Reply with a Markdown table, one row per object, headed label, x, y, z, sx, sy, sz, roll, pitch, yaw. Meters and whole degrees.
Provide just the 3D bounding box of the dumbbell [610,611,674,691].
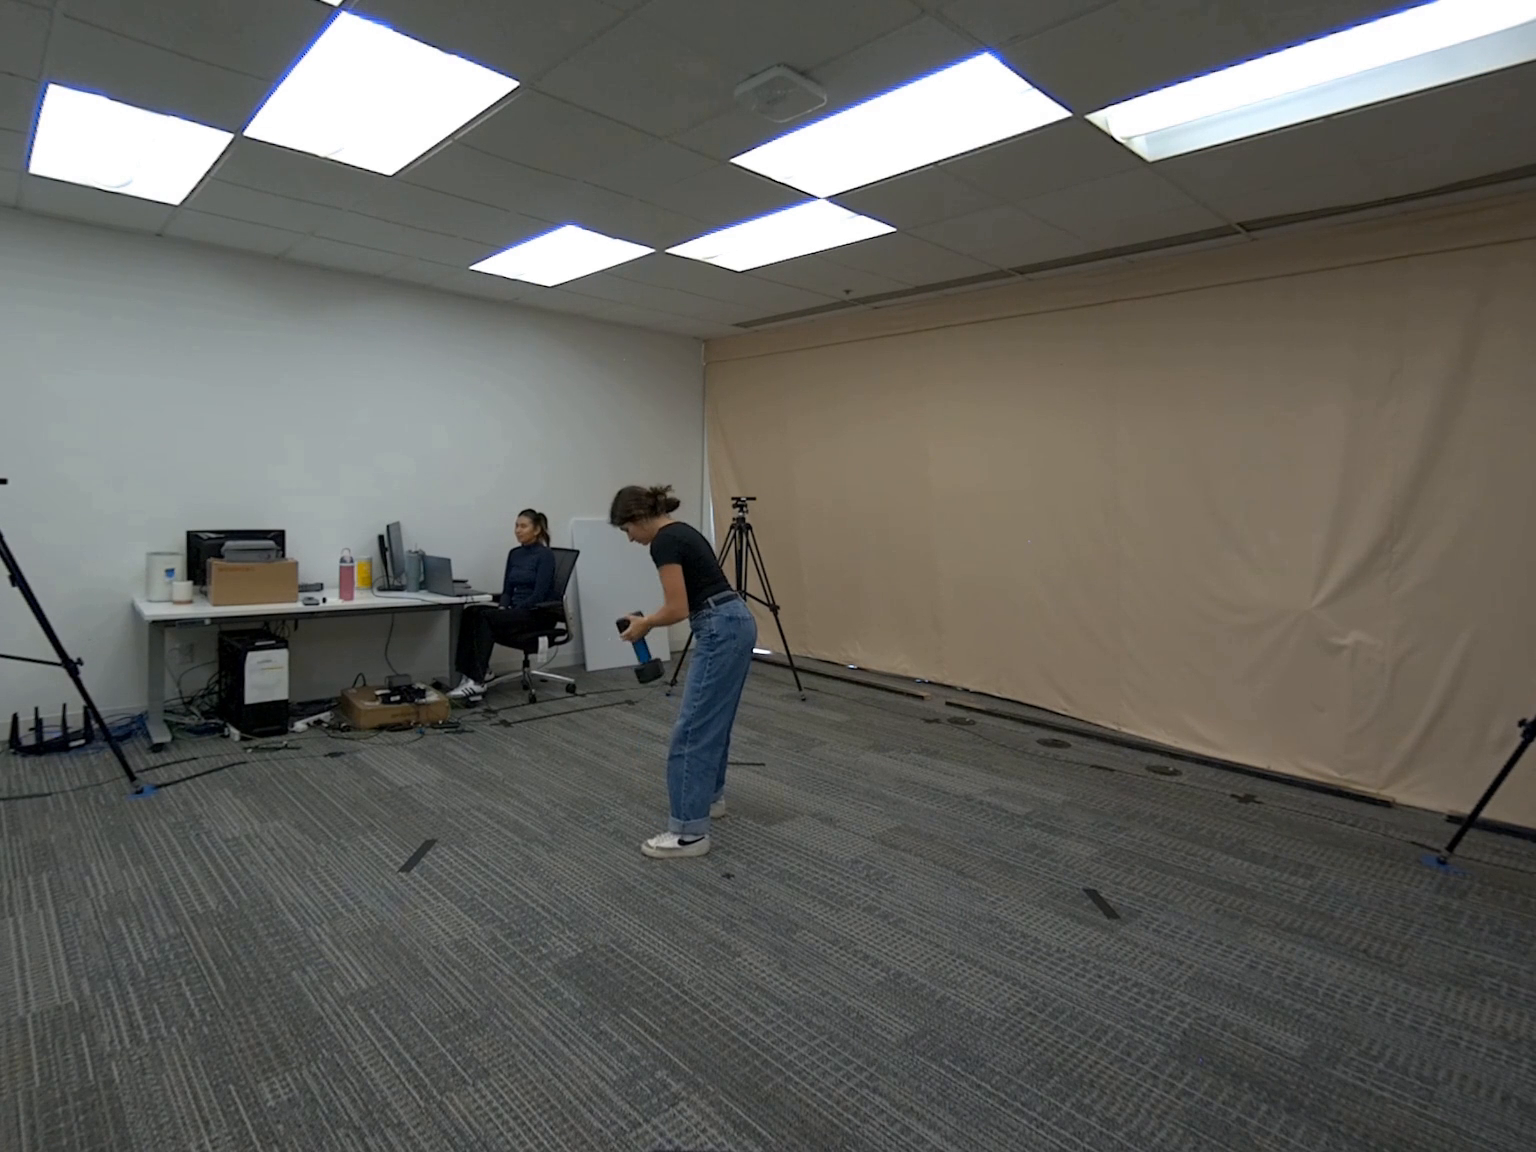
| label | x | y | z | sx | sy | sz | roll | pitch | yaw |
| --- | --- | --- | --- | --- | --- | --- | --- | --- | --- |
| dumbbell | -0.527 | 0.310 | 3.525 | 0.125 | 0.292 | 0.107 | -19 | 5 | 43 |
